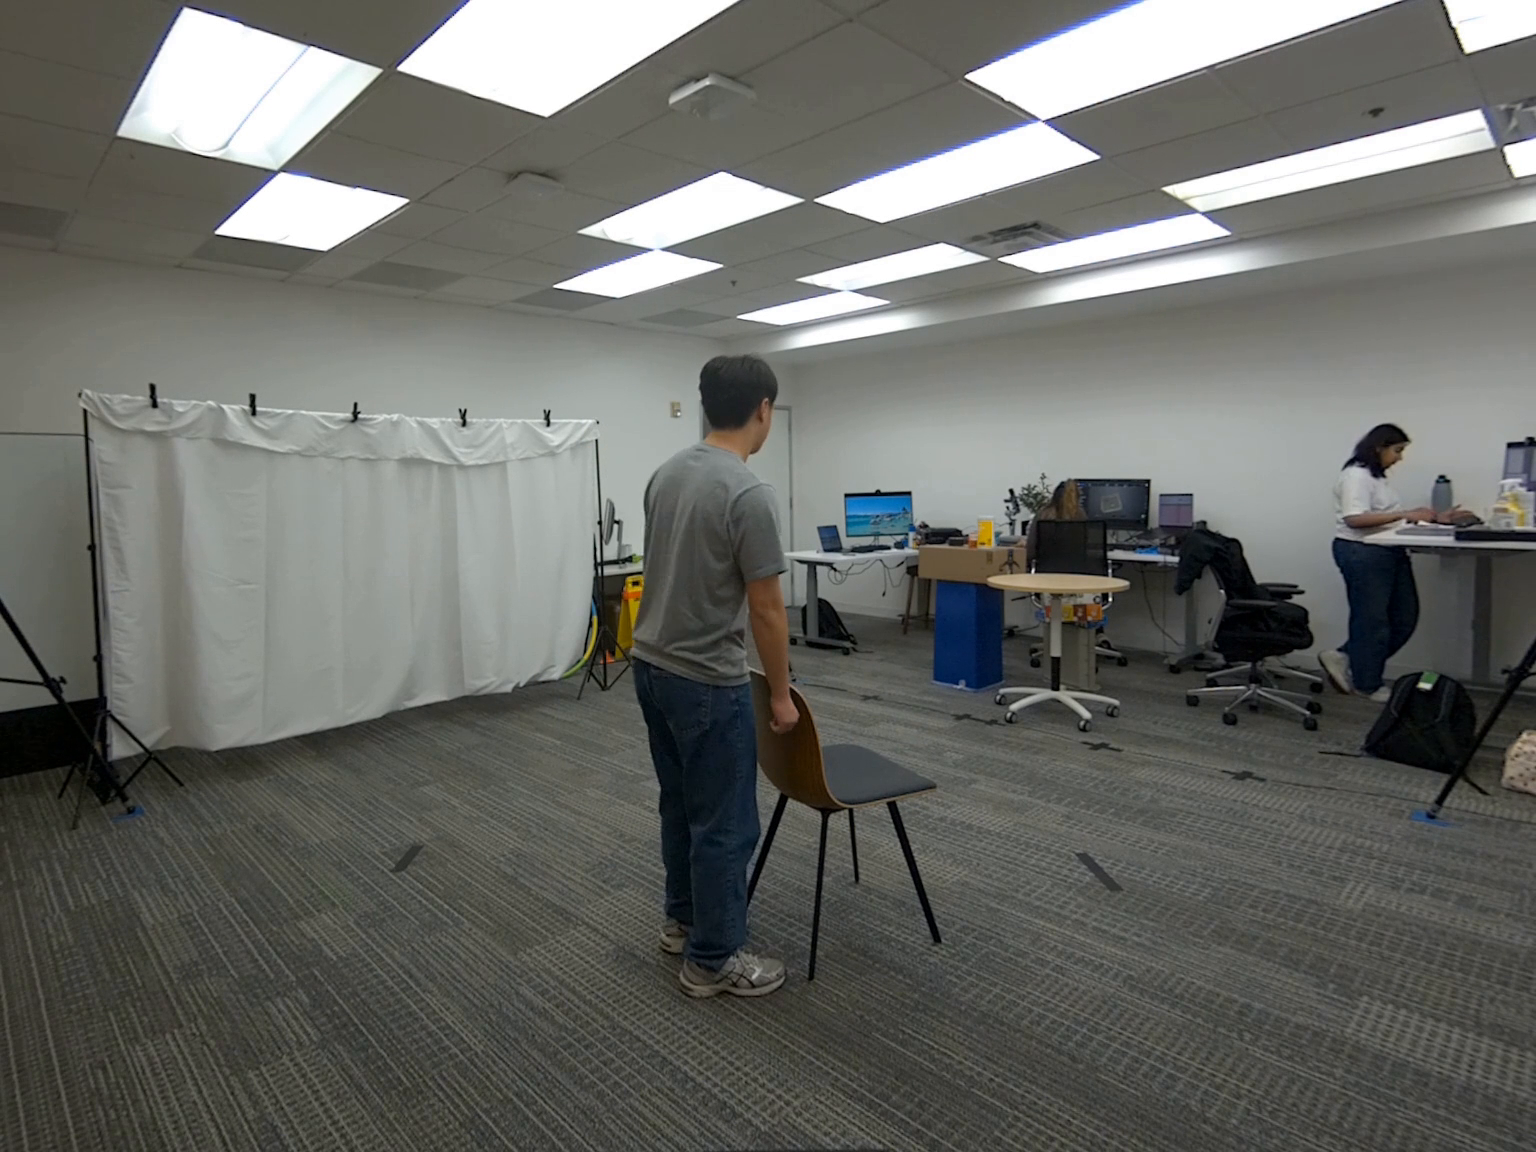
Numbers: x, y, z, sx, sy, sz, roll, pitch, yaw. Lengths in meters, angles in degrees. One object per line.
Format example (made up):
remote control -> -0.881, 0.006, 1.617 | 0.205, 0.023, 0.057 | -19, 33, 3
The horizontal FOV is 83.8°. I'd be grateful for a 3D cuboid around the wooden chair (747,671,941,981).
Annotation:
wooden chair -> 0.217, 0.666, 2.647 | 0.513, 0.872, 0.490 | -8, 6, -25
